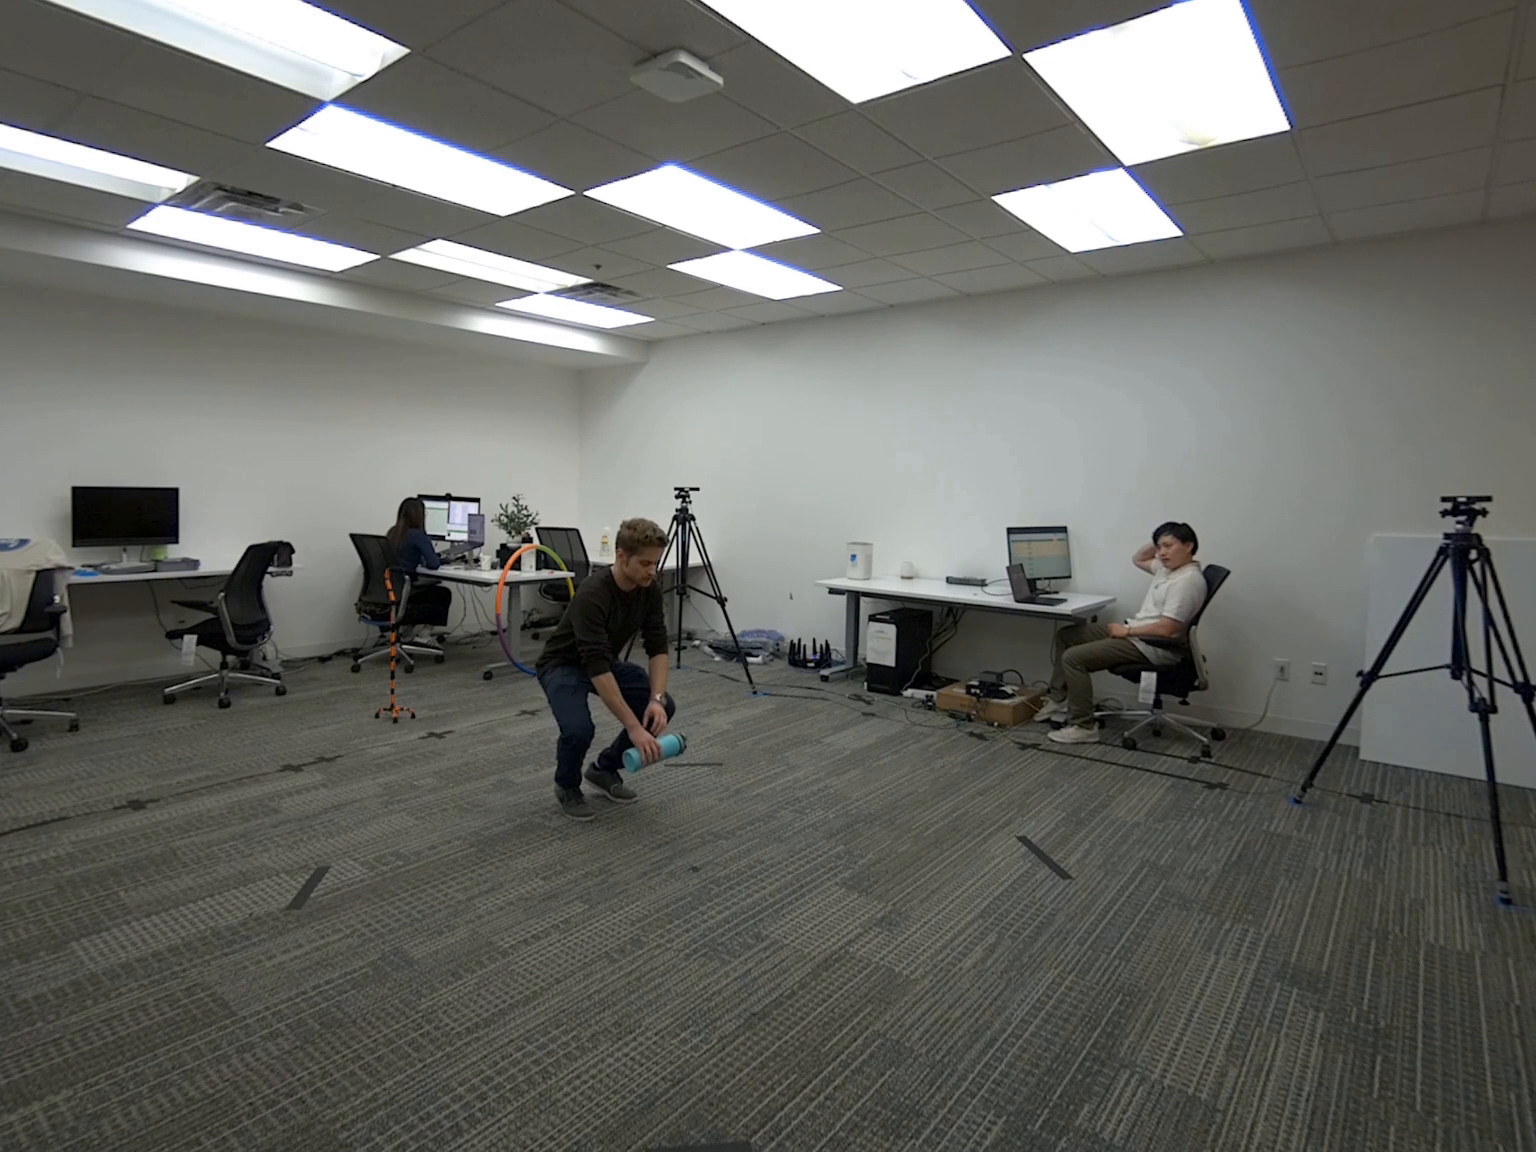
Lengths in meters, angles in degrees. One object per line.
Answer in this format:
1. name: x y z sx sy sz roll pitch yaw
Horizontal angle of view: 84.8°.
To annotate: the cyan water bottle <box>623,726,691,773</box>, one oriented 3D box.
1. cyan water bottle: -0.460 0.699 3.408 0.276 0.091 0.095 -11 11 -39
